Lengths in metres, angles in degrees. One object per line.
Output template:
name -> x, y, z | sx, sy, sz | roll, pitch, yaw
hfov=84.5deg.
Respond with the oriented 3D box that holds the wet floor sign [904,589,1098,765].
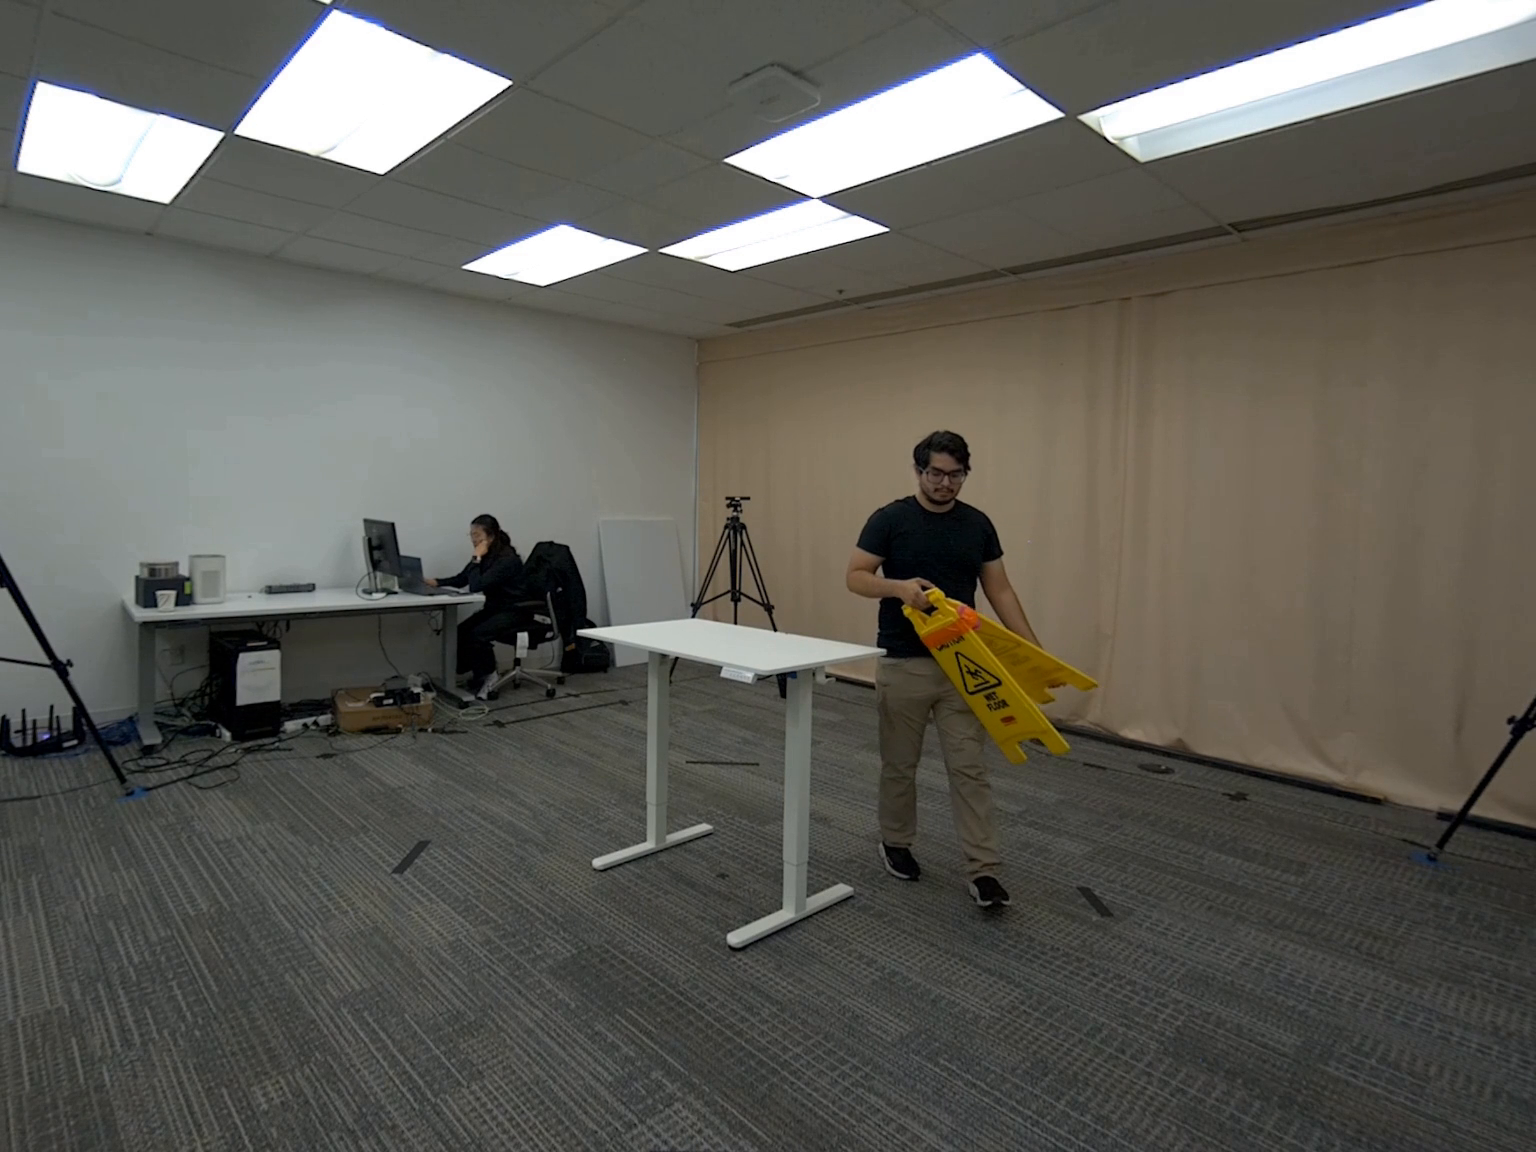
wet floor sign -> 0.731, 0.289, 2.833 | 0.645, 0.290, 0.282 | 41, -30, -2
